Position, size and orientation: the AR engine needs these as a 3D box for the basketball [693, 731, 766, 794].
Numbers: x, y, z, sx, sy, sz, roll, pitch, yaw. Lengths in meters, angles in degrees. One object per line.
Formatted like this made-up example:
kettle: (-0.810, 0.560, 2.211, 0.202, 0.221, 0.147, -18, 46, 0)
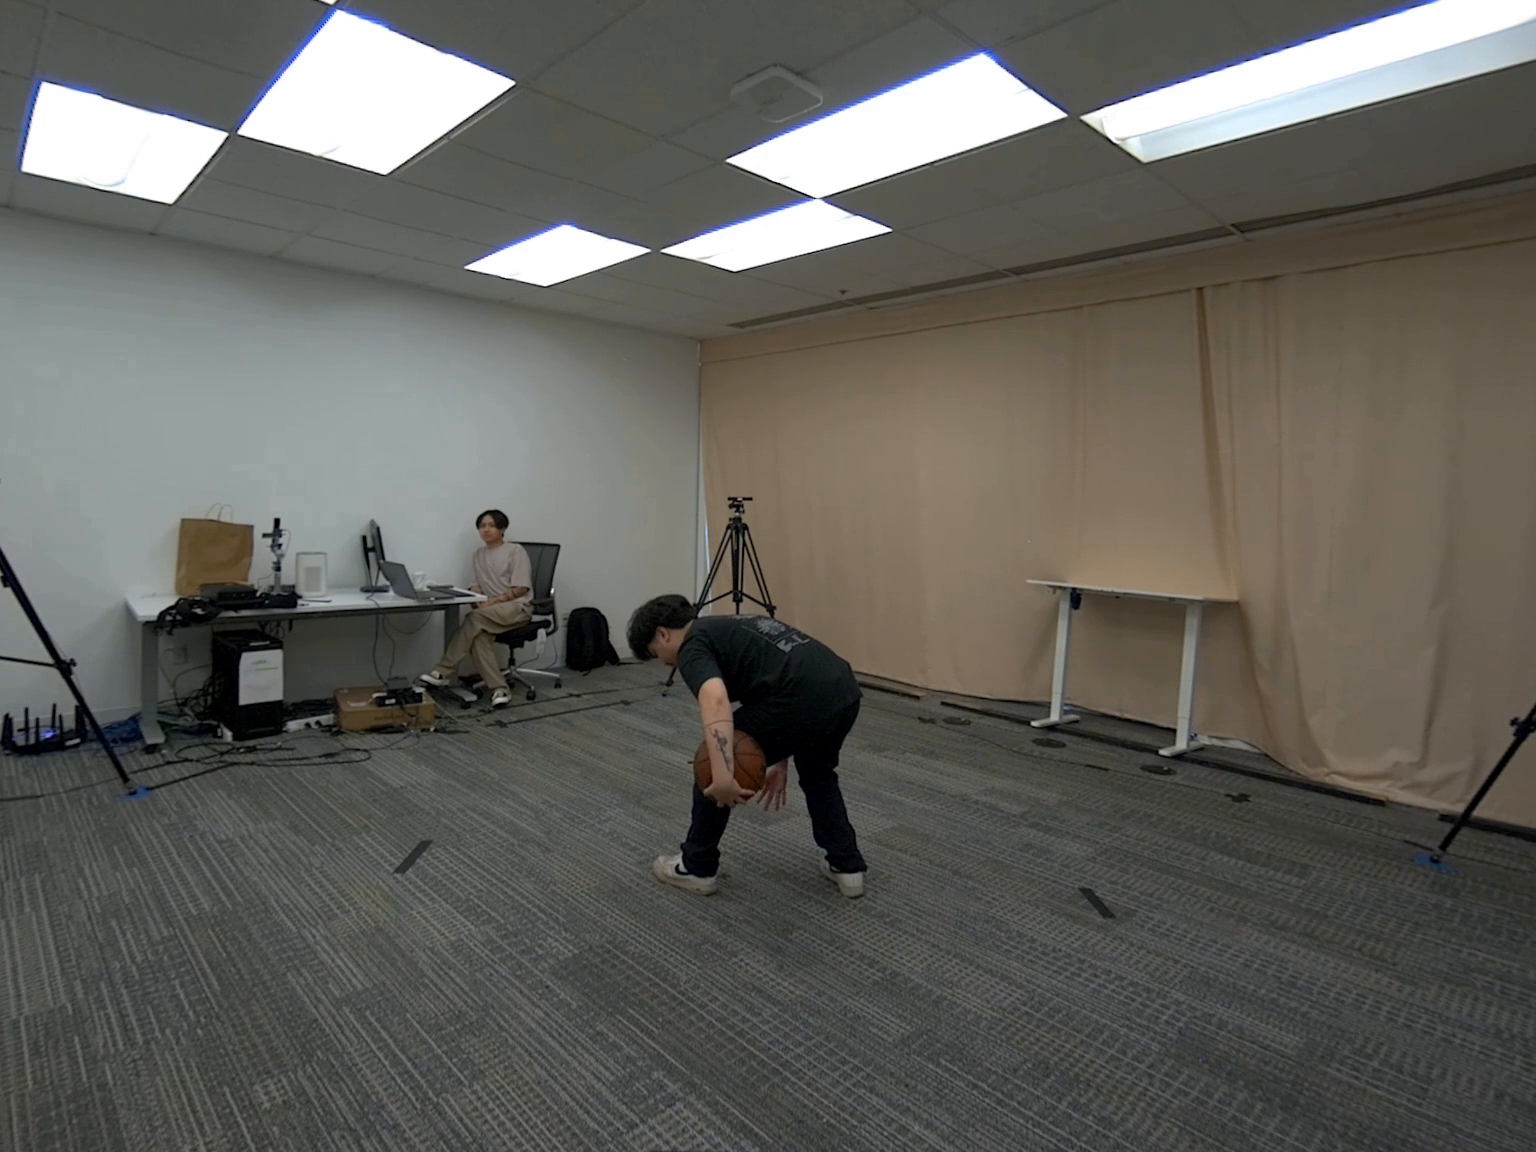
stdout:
basketball: (-0.133, 0.625, 2.739, 0.236, 0.235, 0.237, 1, 4, -1)
